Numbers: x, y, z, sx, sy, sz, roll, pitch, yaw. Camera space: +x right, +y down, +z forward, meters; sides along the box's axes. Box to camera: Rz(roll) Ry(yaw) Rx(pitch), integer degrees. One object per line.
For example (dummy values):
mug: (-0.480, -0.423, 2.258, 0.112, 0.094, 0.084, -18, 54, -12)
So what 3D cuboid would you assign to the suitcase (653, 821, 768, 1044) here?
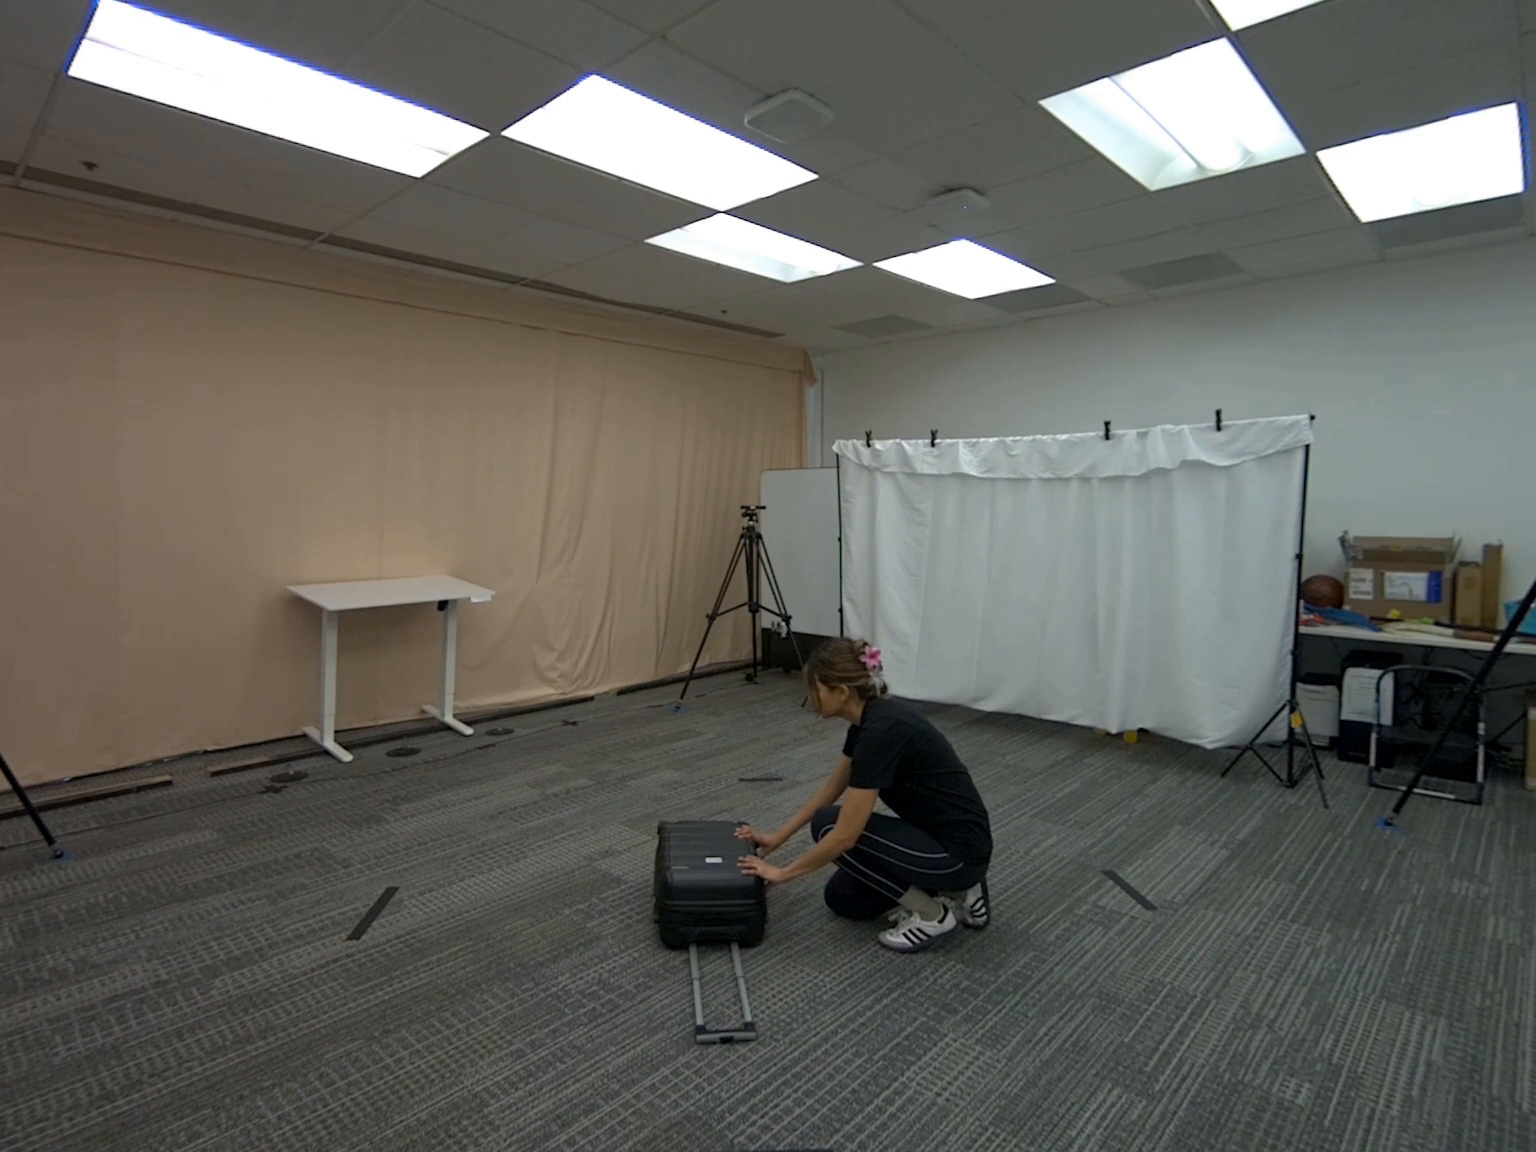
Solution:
suitcase: (-0.178, 1.049, 2.668, 0.382, 0.257, 0.985, 1, 3, -6)
